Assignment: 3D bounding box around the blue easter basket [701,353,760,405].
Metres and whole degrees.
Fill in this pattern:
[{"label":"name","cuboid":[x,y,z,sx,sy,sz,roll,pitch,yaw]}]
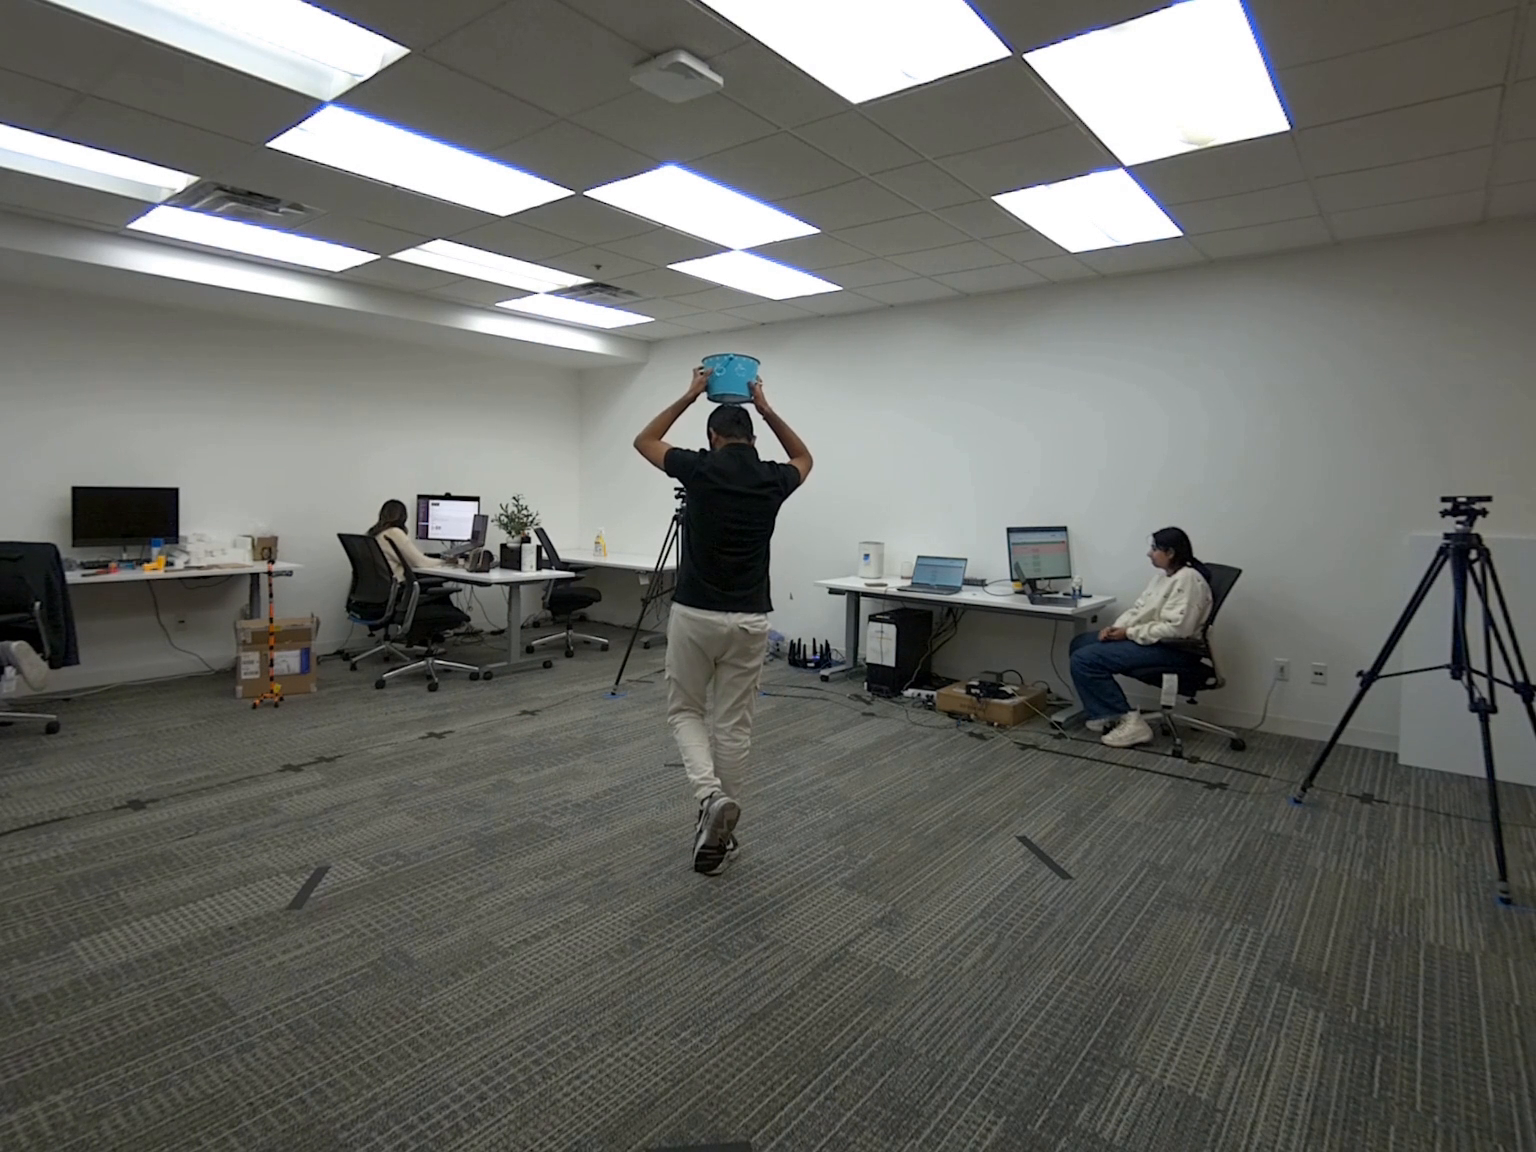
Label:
[{"label":"blue easter basket","cuboid":[-0.158,-0.783,3.388,0.243,0.157,0.242,3,-4,-2]}]
